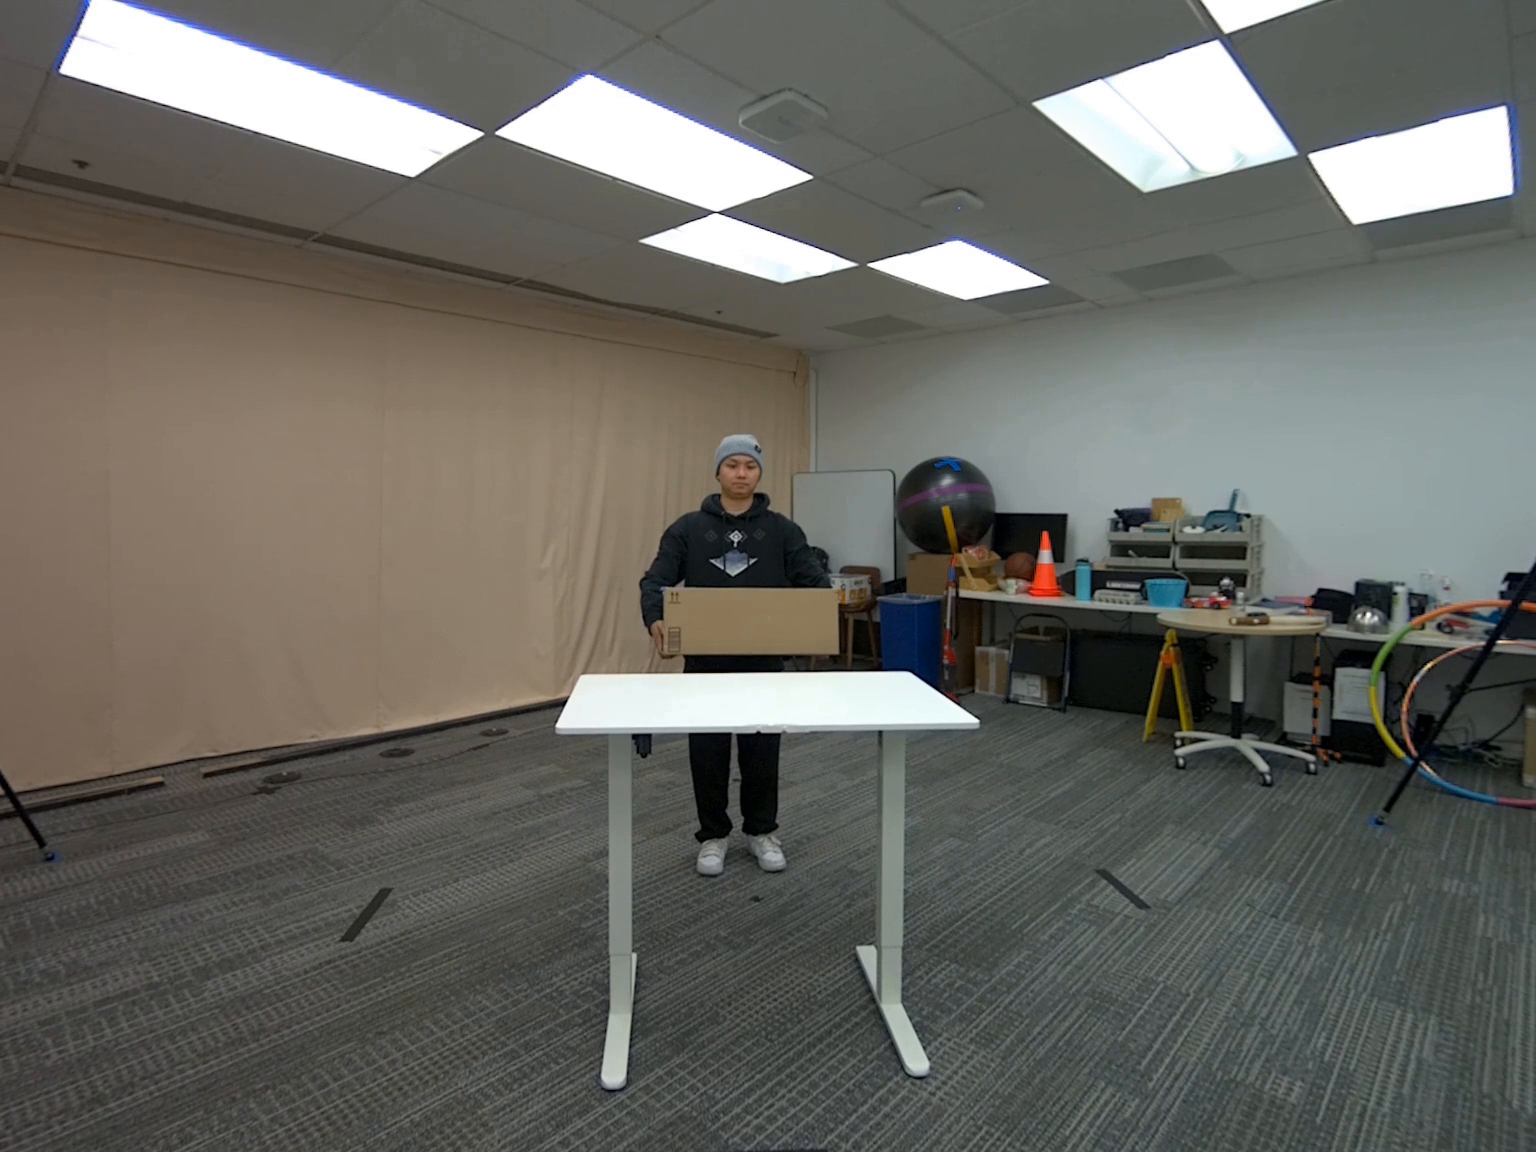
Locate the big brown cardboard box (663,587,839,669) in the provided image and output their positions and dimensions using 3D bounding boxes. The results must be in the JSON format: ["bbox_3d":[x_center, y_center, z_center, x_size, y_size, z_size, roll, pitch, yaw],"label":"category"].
[{"bbox_3d":[-0.081,0.161,2.911,0.586,0.234,0.418,1,-4,-5],"label":"big brown cardboard box"}]
